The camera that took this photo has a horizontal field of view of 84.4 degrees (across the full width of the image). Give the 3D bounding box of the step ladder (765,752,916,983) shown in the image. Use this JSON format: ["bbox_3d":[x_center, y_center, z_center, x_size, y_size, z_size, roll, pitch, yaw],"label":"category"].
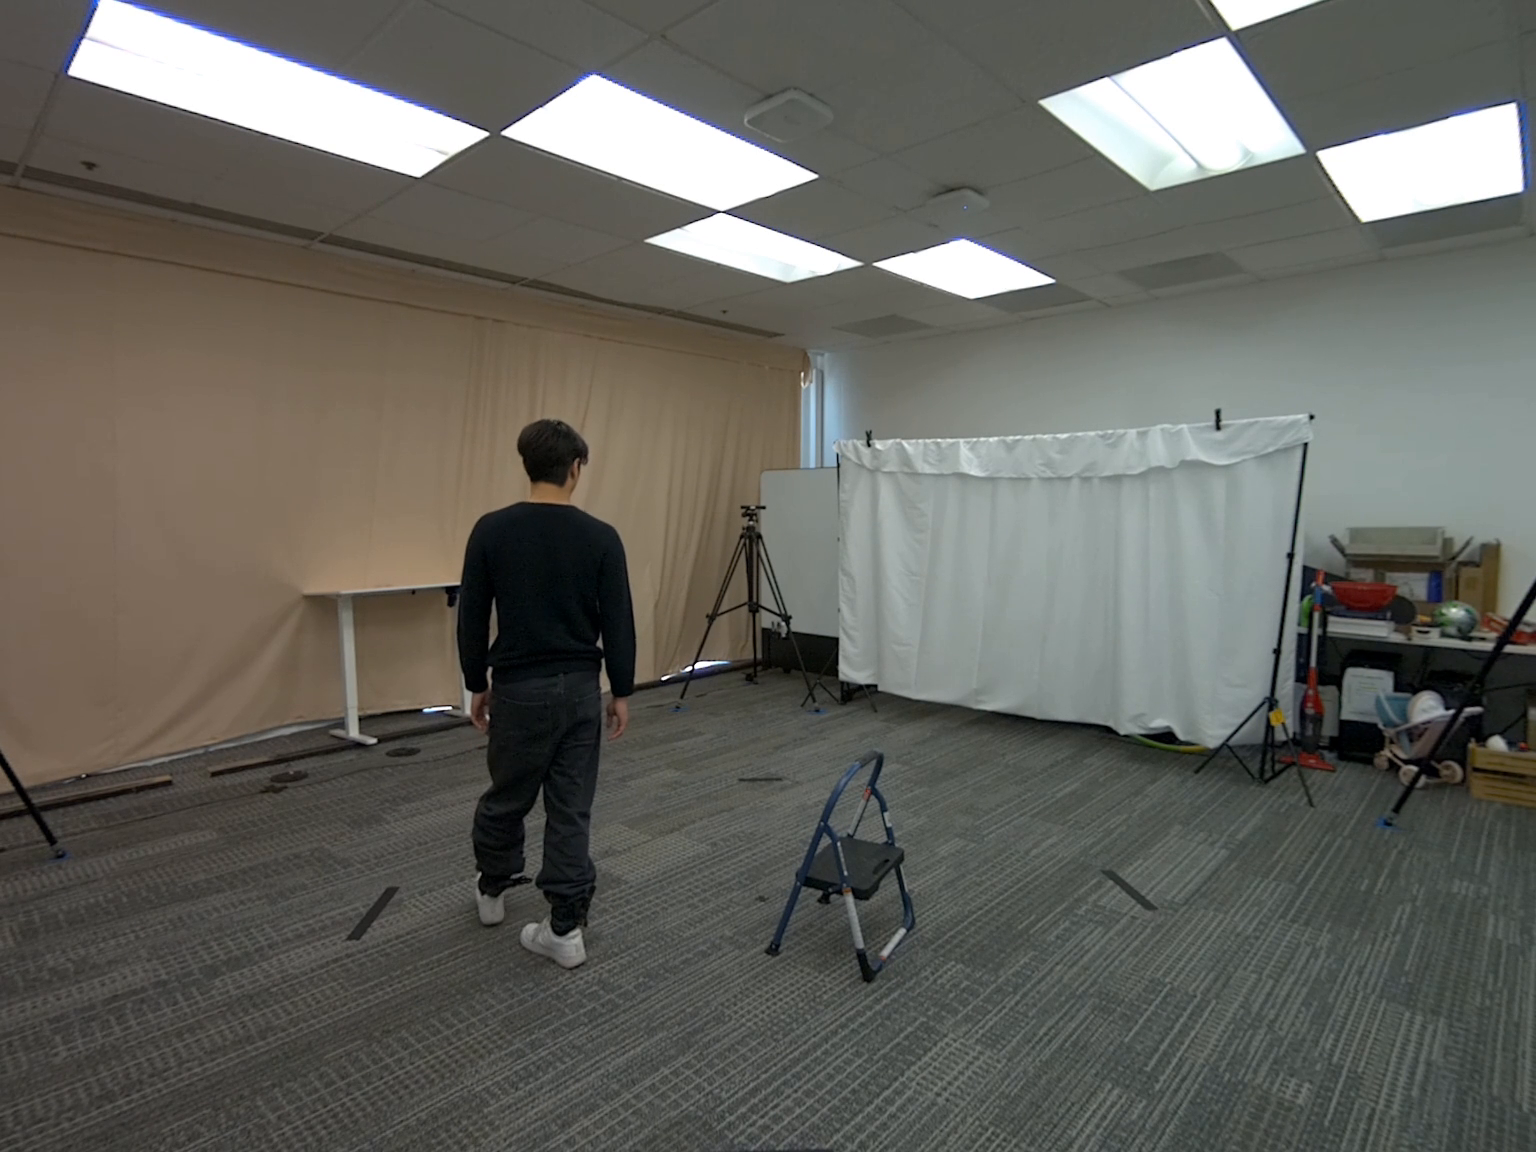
[{"bbox_3d":[0.245,0.864,2.695,0.359,0.605,0.419,2,4,30],"label":"step ladder"}]
